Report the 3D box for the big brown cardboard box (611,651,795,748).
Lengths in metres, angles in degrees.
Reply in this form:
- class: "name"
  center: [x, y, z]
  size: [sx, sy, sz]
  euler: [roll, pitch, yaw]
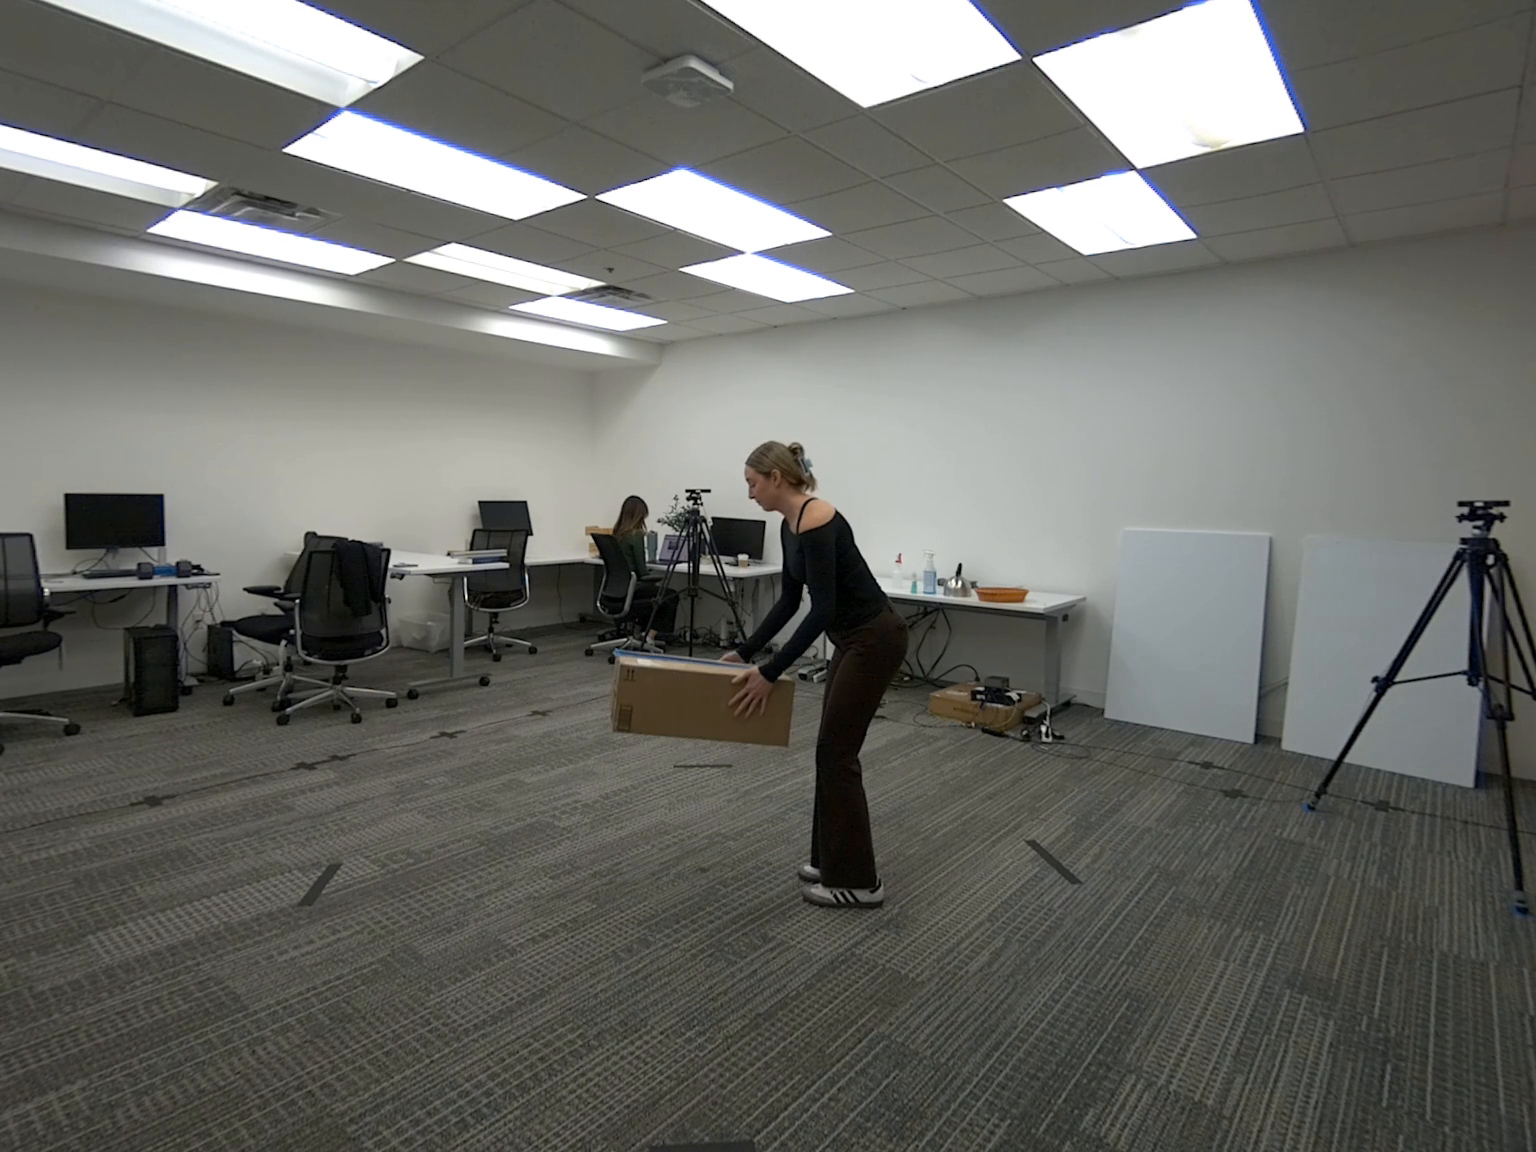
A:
- class: "big brown cardboard box"
  center: [-0.255, 0.408, 2.887]
  size: [0.582, 0.234, 0.422]
  euler: [7, -1, -10]
